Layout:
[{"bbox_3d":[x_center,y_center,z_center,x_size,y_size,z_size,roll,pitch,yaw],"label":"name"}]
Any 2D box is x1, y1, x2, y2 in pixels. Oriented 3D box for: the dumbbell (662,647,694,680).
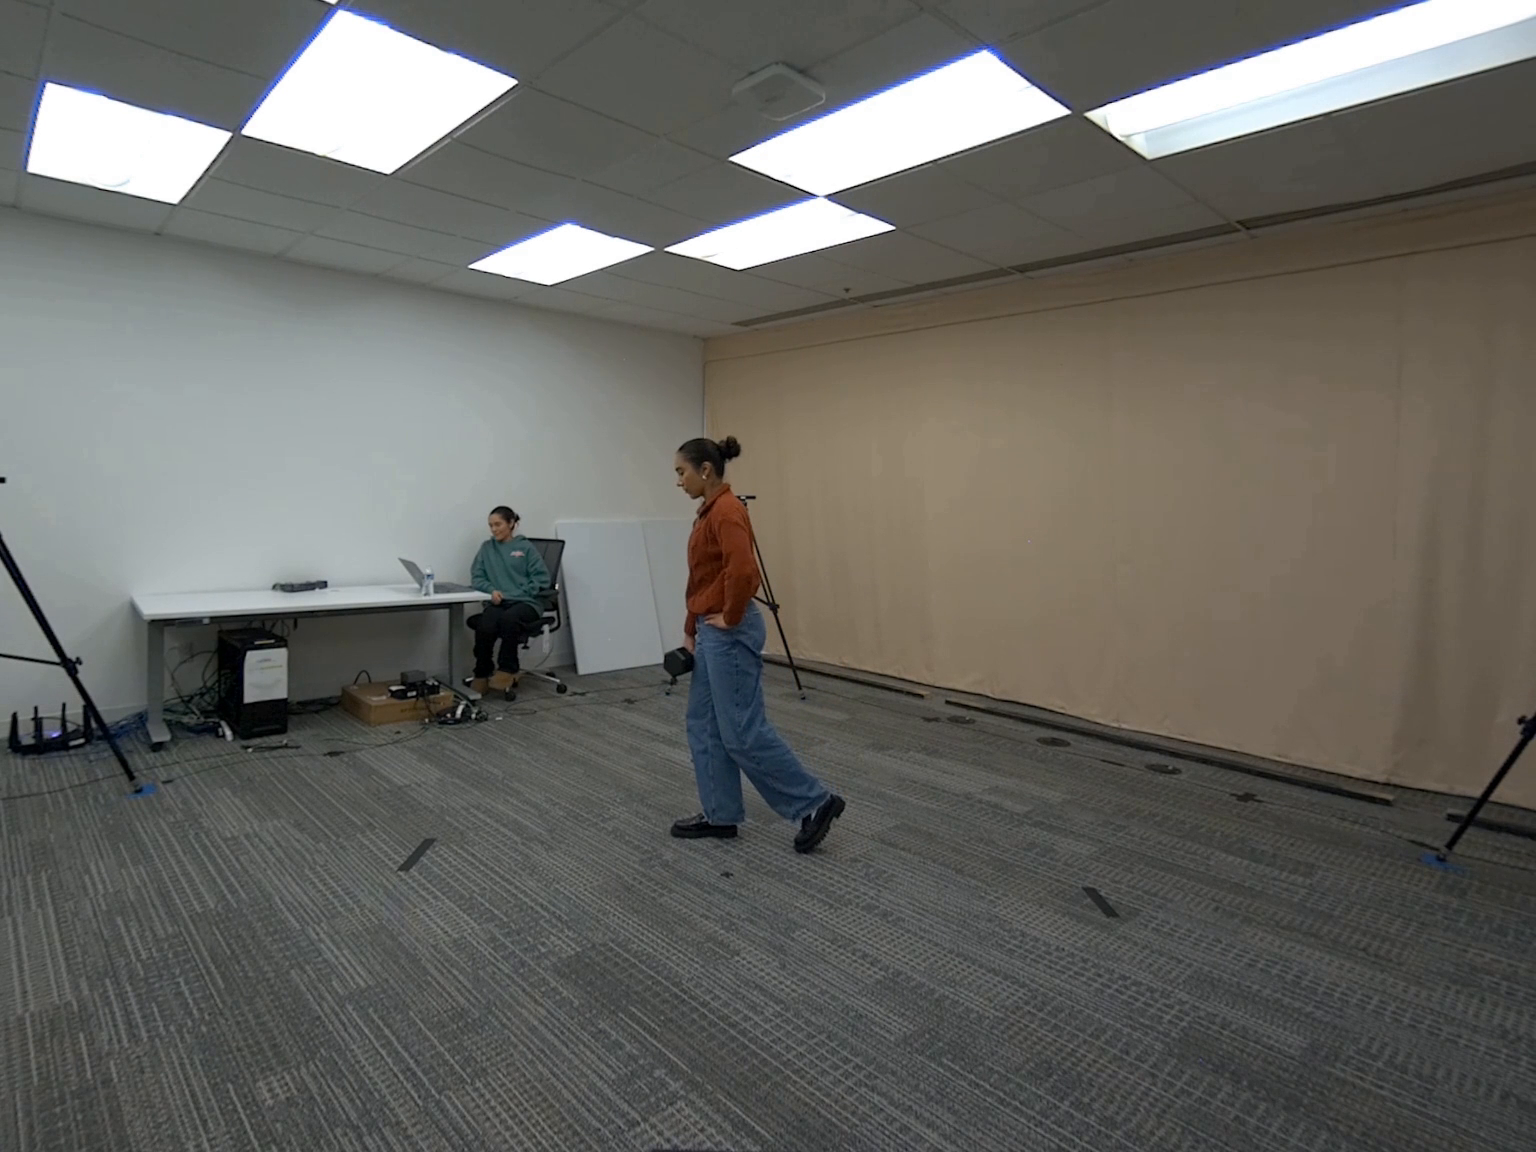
[{"bbox_3d":[-0.320,0.348,3.546,0.111,0.122,0.288,12,10,29],"label":"dumbbell"}]
